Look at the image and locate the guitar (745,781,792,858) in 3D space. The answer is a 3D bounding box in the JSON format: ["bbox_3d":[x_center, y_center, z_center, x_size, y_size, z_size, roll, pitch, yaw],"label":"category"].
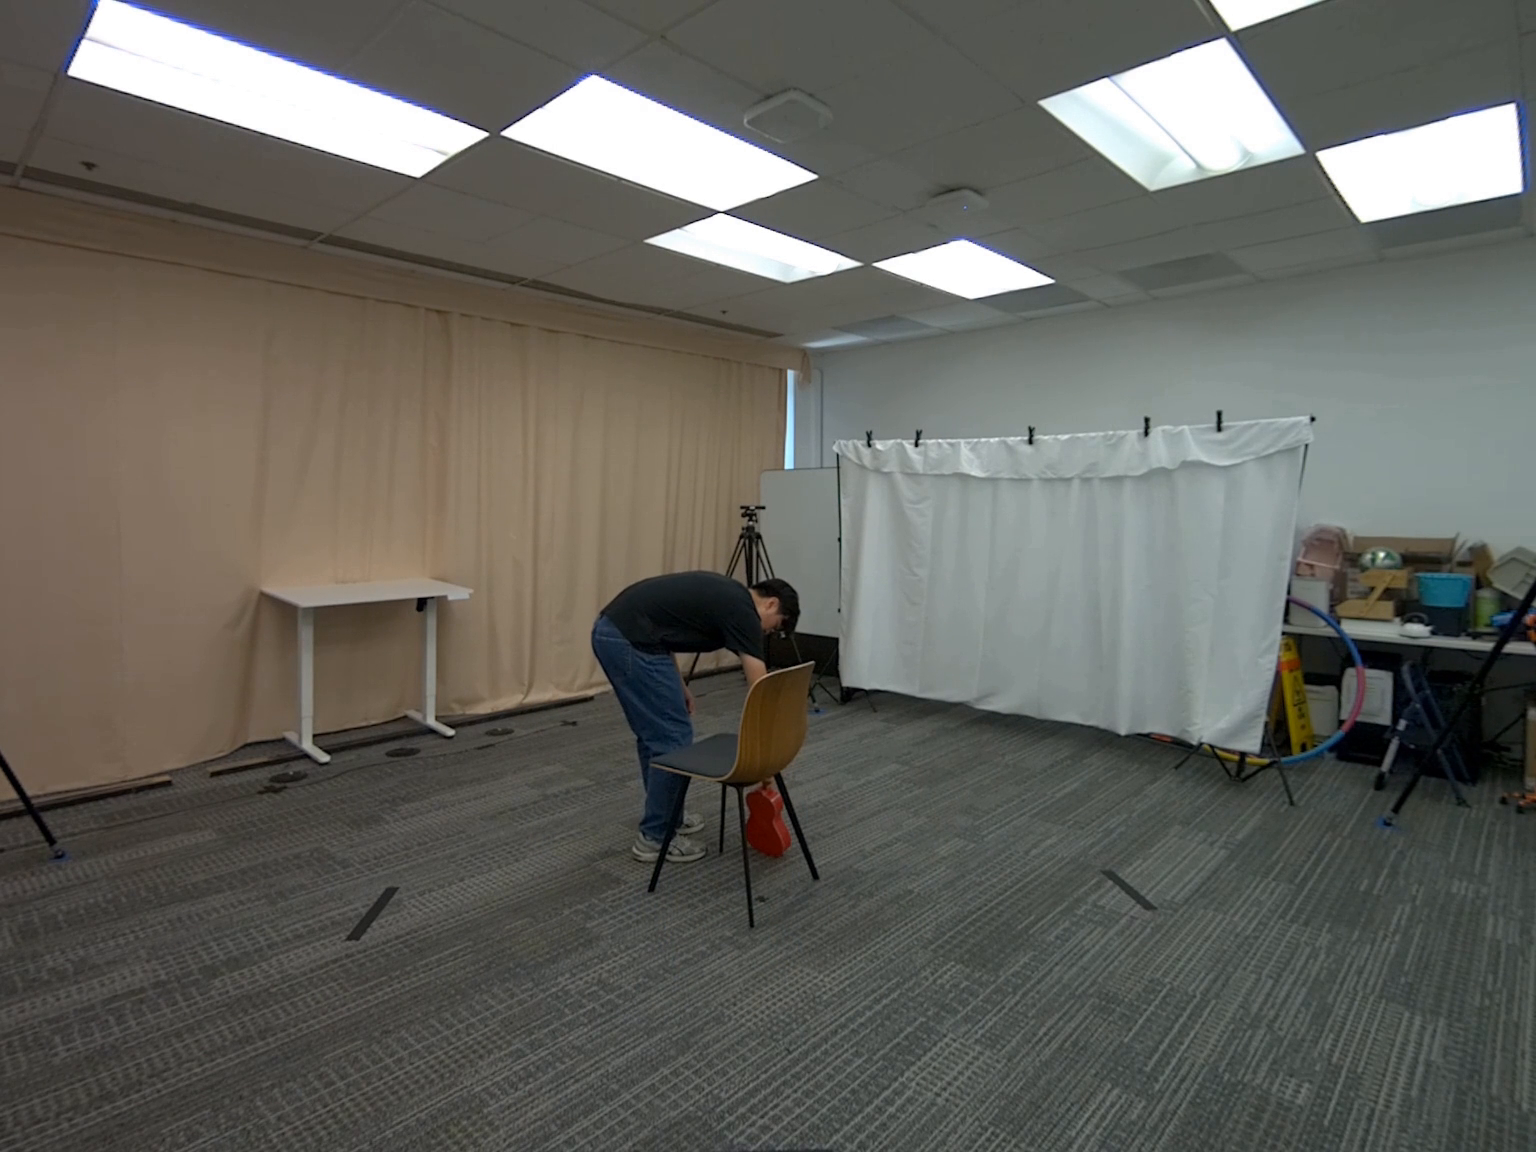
[{"bbox_3d":[-0.029,0.864,3.353,0.199,0.494,0.069,-4,10,41],"label":"guitar"}]
